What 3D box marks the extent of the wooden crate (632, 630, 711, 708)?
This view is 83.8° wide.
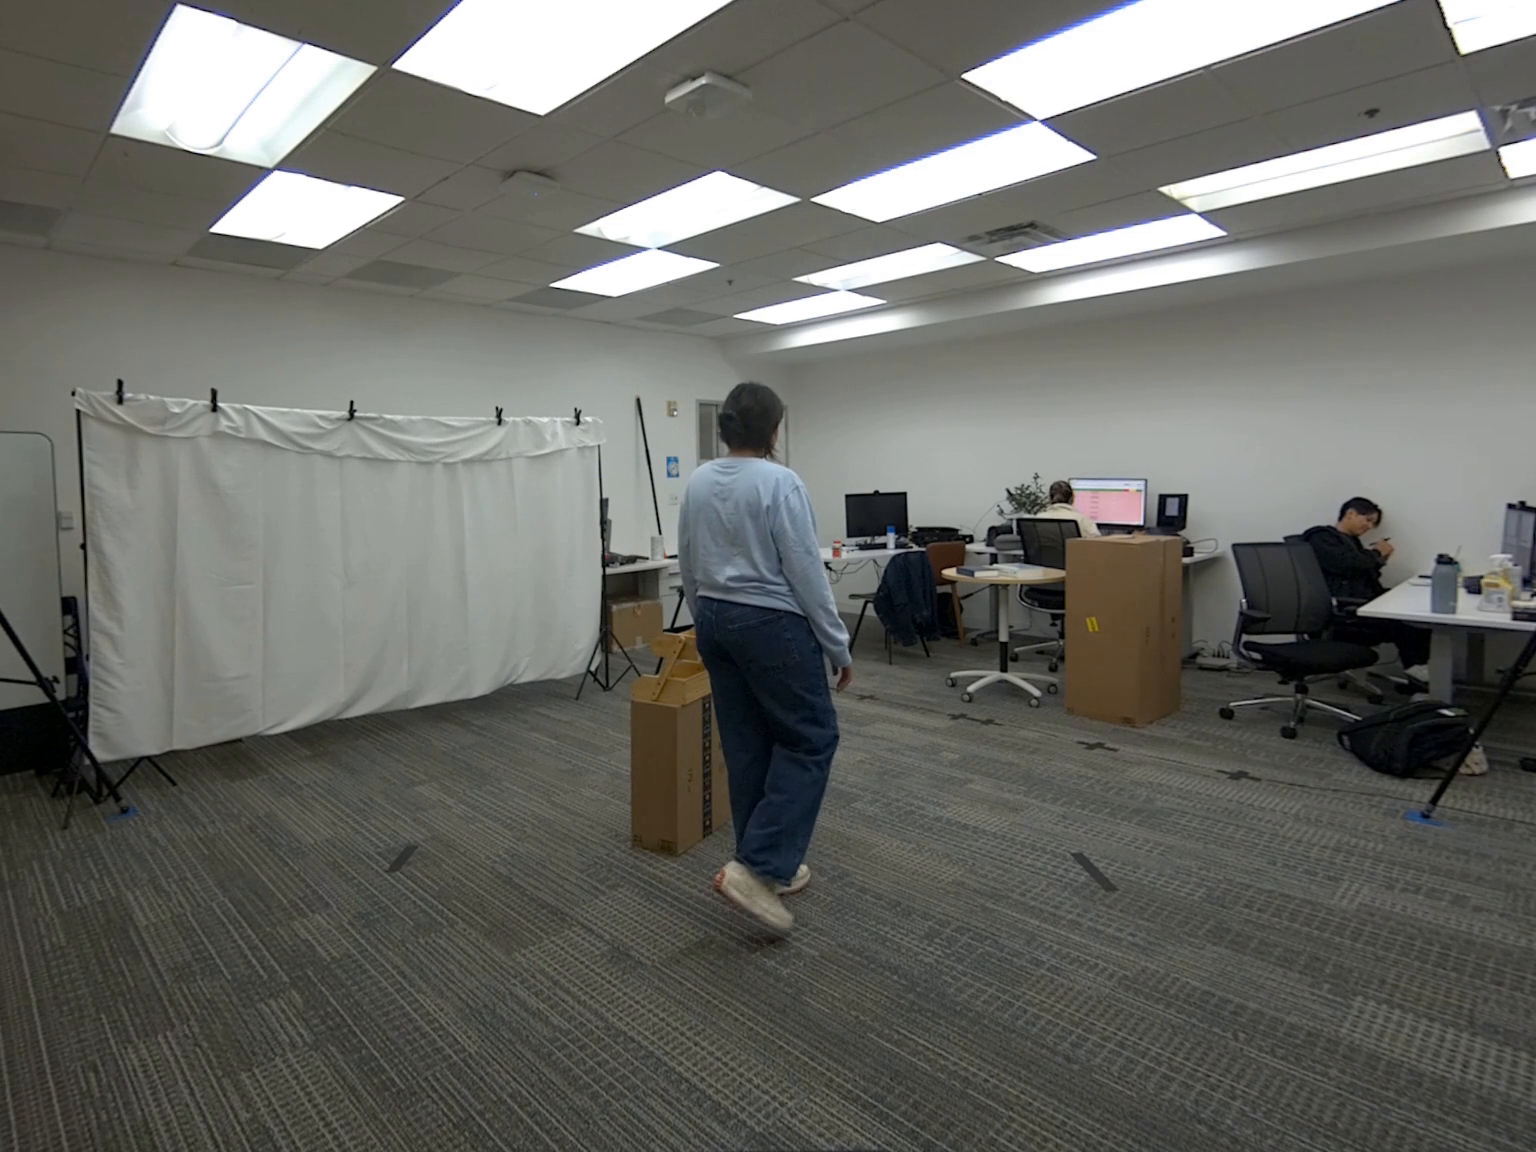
[{"bbox_3d":[-0.342,0.329,3.340,0.309,0.272,0.318,3,5,26],"label":"wooden crate"}]
